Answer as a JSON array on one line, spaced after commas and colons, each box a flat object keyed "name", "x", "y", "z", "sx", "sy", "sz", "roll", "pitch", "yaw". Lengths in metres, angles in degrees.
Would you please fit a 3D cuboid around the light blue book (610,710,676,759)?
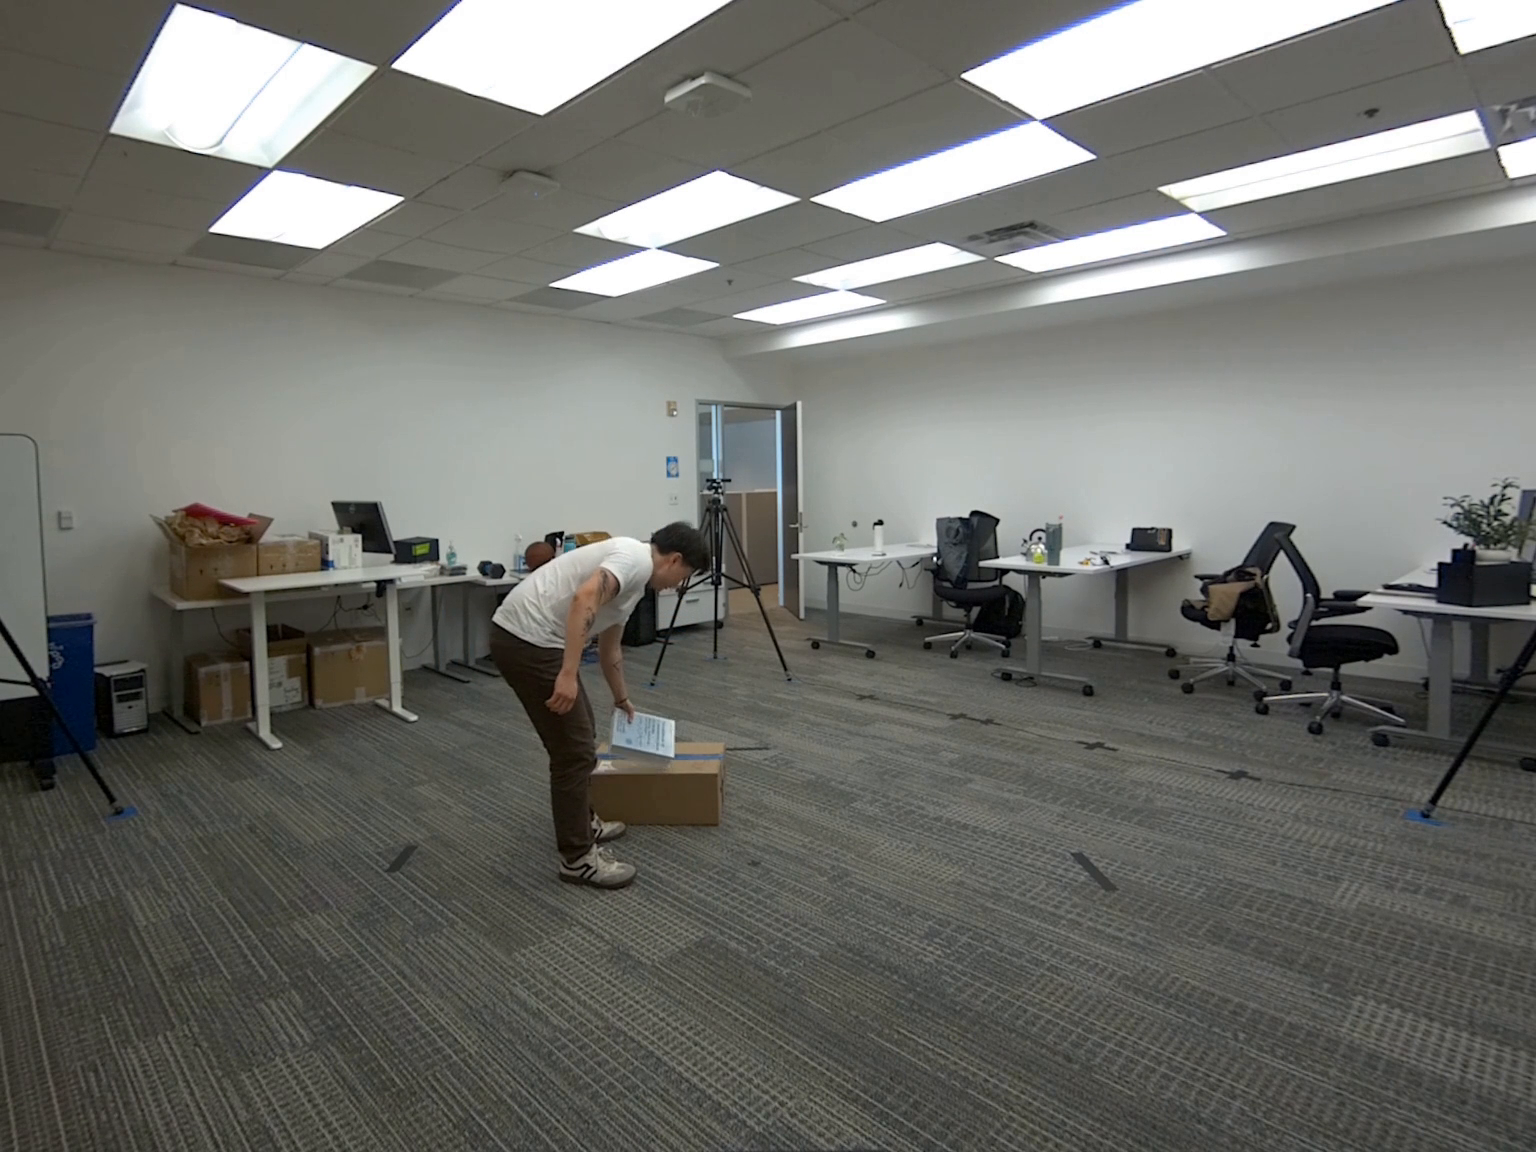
[{"name": "light blue book", "x": -0.516, "y": 0.653, "z": 3.483, "sx": 0.257, "sy": 0.058, "sz": 0.196, "roll": 17, "pitch": 39, "yaw": -12}]
